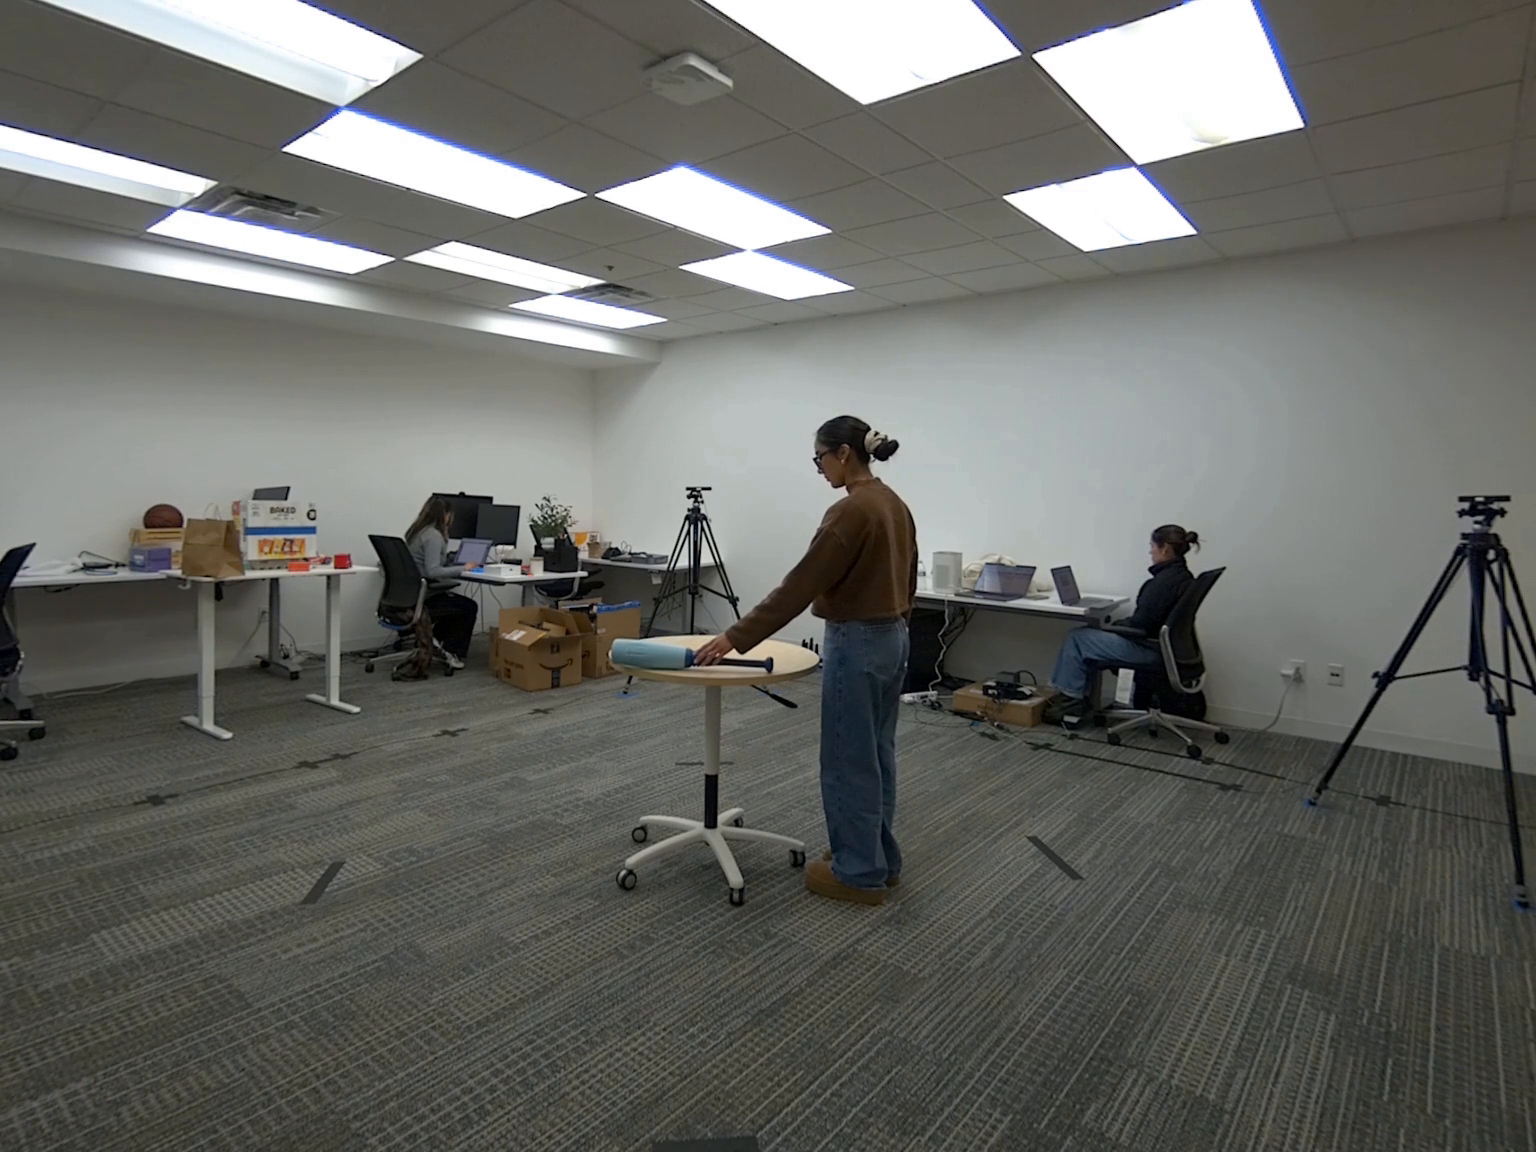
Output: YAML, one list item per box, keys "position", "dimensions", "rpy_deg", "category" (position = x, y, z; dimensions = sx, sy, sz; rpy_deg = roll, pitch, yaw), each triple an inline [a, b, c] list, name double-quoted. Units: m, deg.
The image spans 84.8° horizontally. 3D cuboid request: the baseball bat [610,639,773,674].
- position: [-0.262, 0.277, 2.833]
  dimensions: [0.545, 0.089, 0.089]
  rpy_deg: [5, 4, 4]
  category: "baseball bat"
